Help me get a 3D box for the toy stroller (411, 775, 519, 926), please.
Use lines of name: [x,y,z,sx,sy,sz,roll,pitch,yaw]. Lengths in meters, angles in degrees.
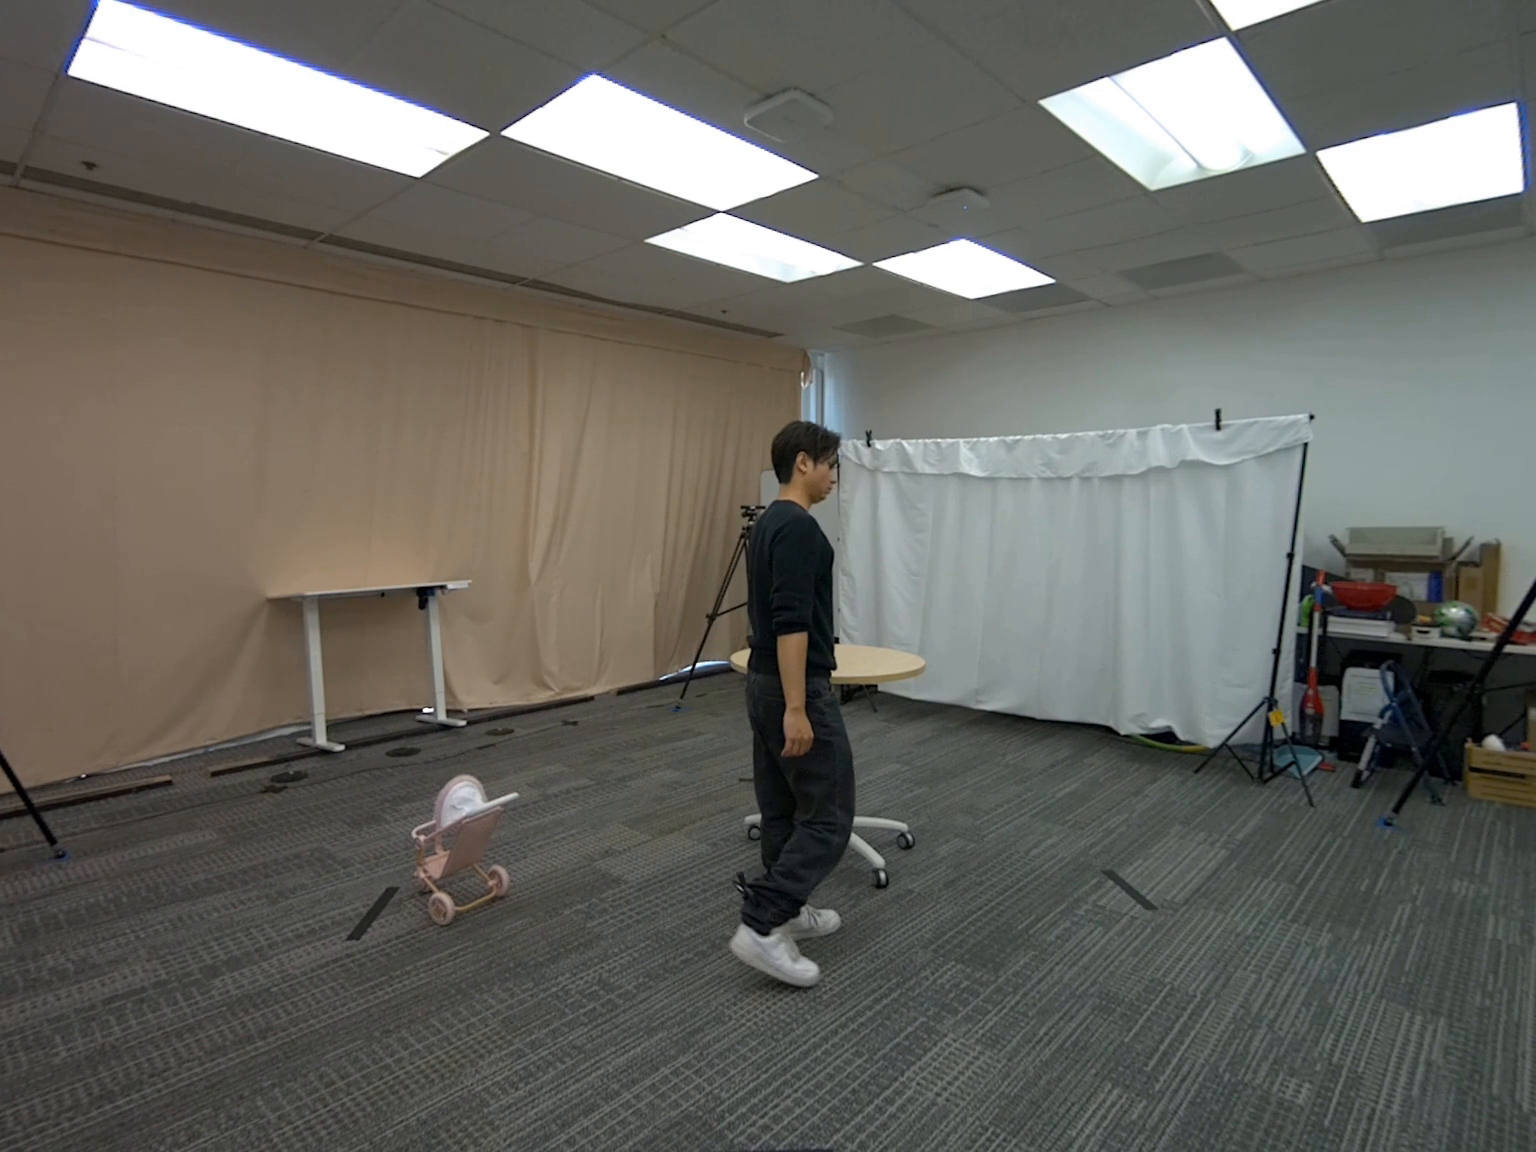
toy stroller: [-1.088,0.934,2.944,0.353,0.532,0.273,23,16,34]
